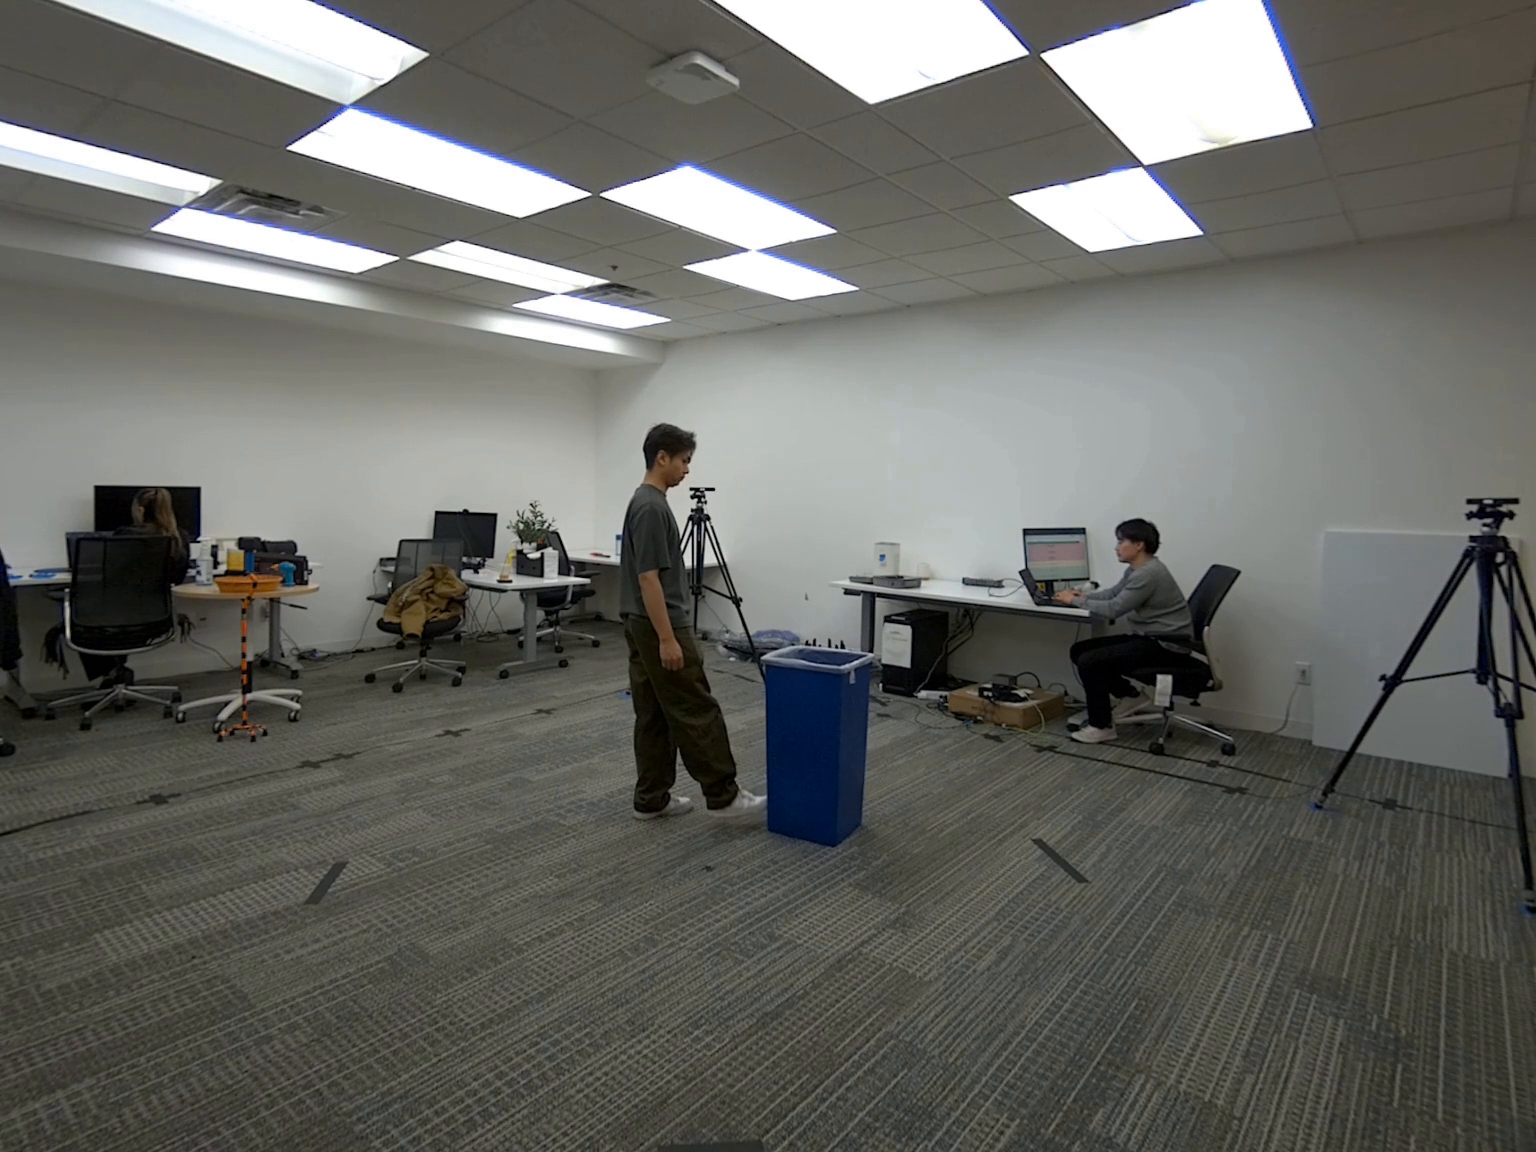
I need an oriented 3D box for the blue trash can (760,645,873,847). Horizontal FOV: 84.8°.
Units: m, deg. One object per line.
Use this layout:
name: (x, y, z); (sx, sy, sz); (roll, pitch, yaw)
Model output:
blue trash can: (0.193, 0.677, 3.496); (0.389, 0.712, 0.364); (2, 3, 29)
